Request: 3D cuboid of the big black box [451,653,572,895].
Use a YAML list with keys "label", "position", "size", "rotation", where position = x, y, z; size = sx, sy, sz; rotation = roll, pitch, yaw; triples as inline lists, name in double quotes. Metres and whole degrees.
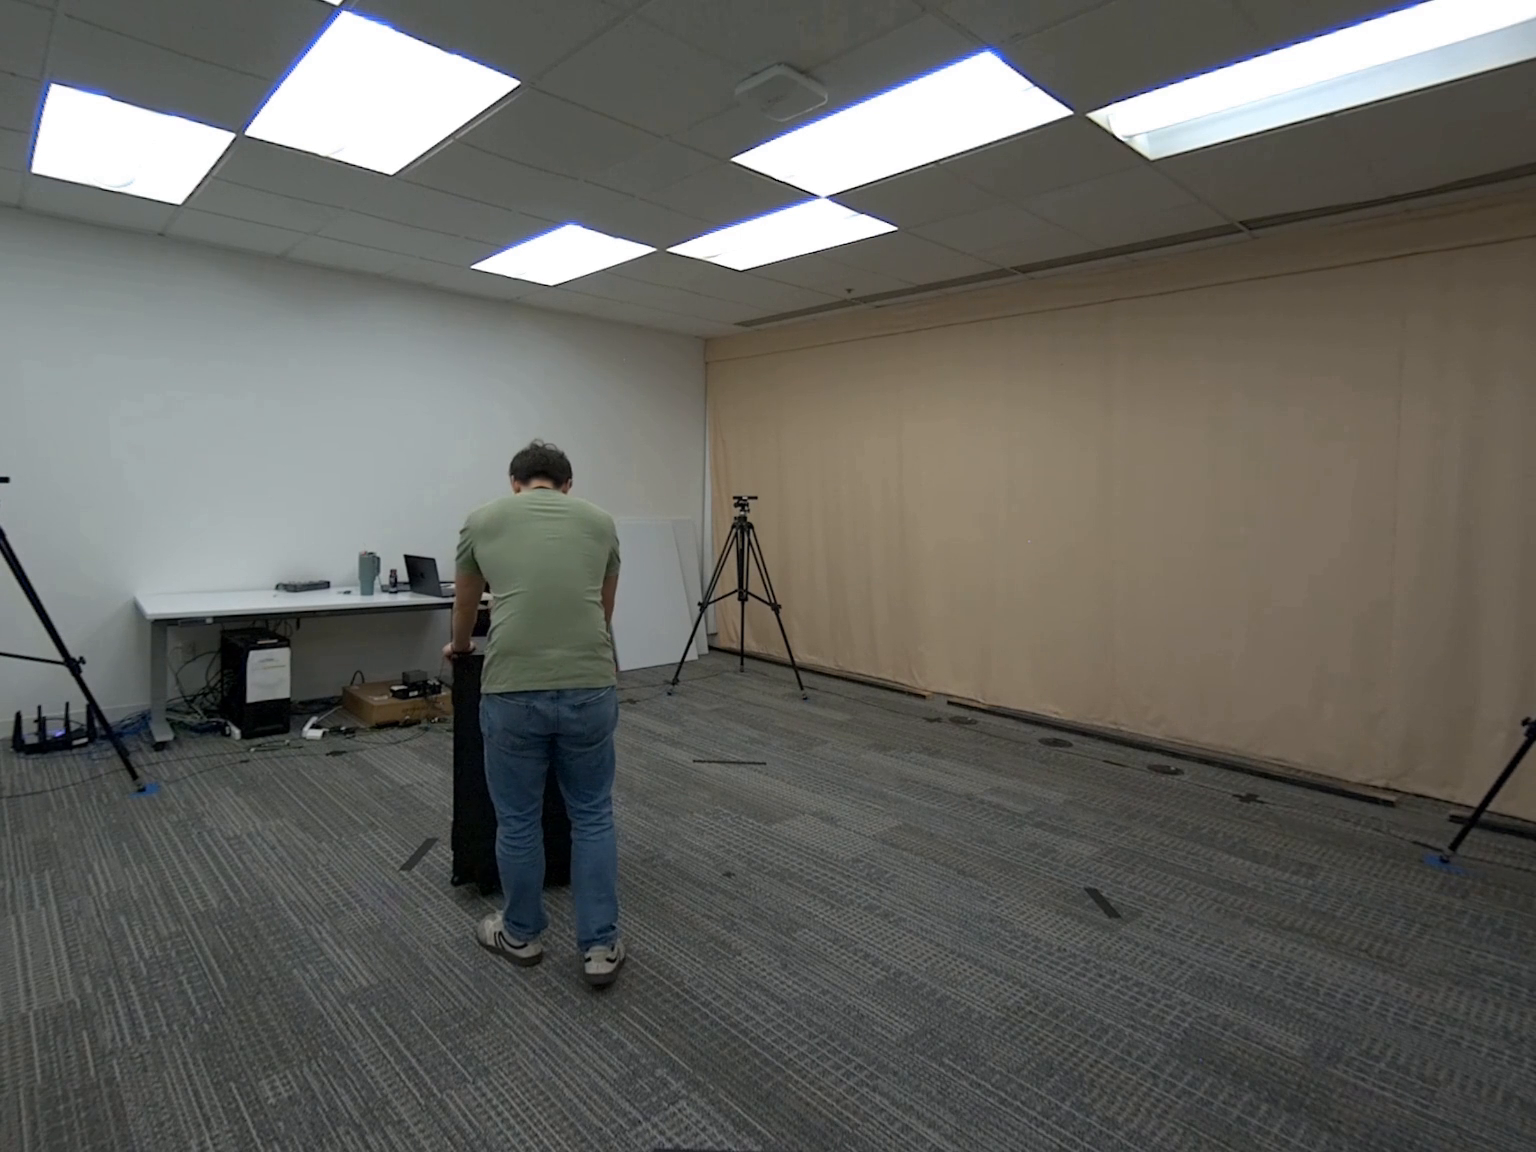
- label: "big black box"
  position: [-0.898, 0.668, 3.043]
  size: [0.514, 0.860, 0.403]
  rotation: [0, 3, -19]
